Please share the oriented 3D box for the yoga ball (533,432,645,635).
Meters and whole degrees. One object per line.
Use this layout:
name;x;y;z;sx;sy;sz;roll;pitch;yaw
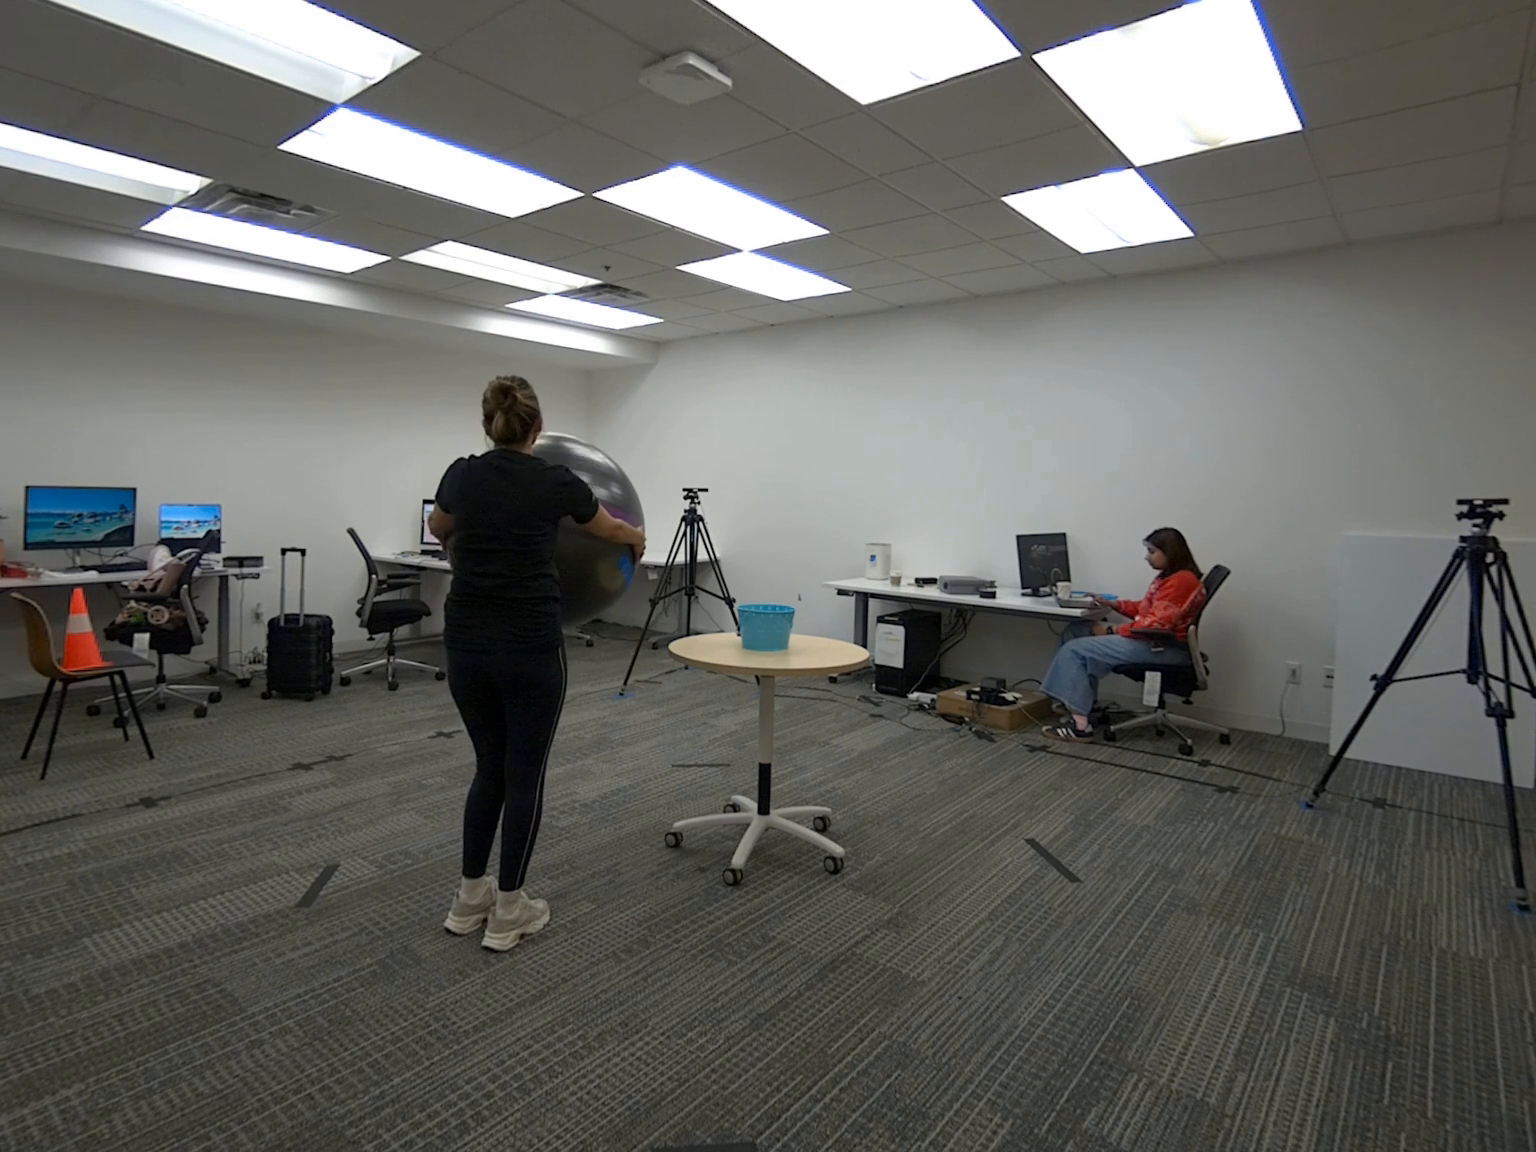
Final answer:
yoga ball;-0.868;-0.159;3.263;0.757;0.756;0.762;1;4;-2
